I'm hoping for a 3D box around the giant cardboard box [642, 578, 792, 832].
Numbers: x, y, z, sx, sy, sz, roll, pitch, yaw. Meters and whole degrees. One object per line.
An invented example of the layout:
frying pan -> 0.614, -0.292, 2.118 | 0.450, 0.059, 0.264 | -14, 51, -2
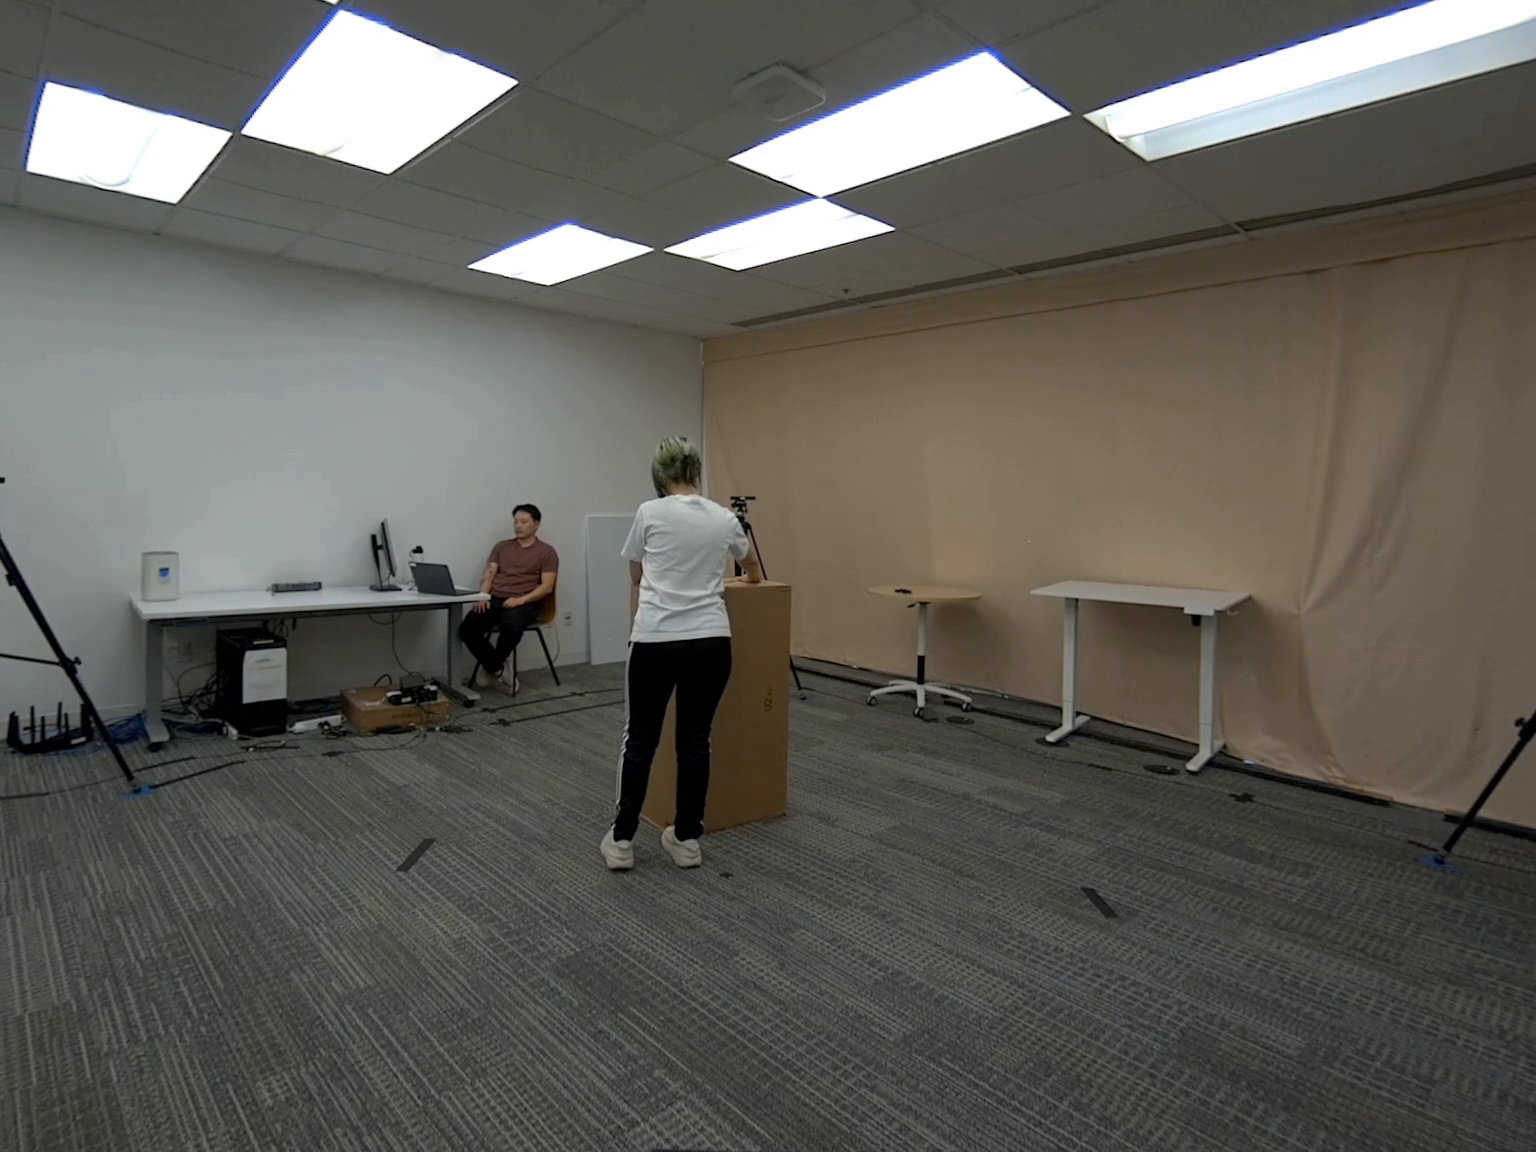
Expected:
giant cardboard box -> -0.268, 0.545, 3.724 | 0.571, 1.024, 0.458 | -1, 4, -35
